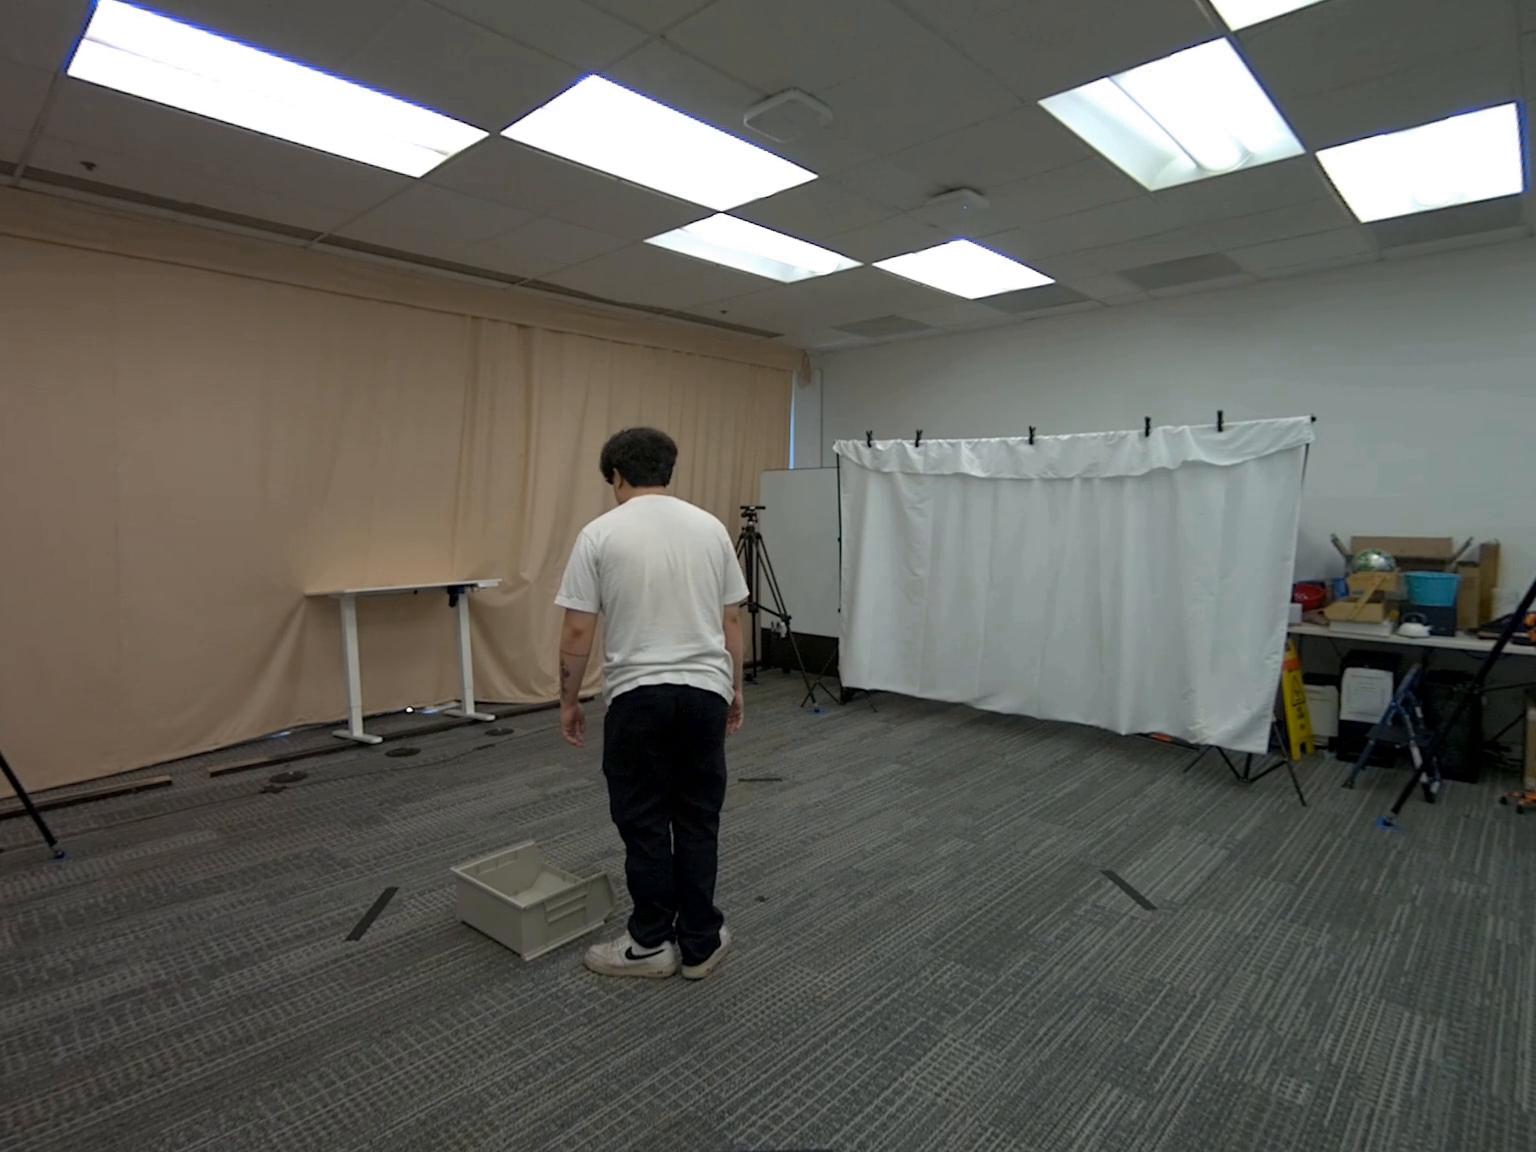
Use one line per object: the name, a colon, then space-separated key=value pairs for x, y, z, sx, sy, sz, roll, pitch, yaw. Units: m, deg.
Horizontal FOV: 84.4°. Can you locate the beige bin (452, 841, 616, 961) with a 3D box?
beige bin: x=-0.796 y=1.078 z=2.839 sx=0.436 sy=0.188 sz=0.366 roll=4 pitch=7 yaw=40
